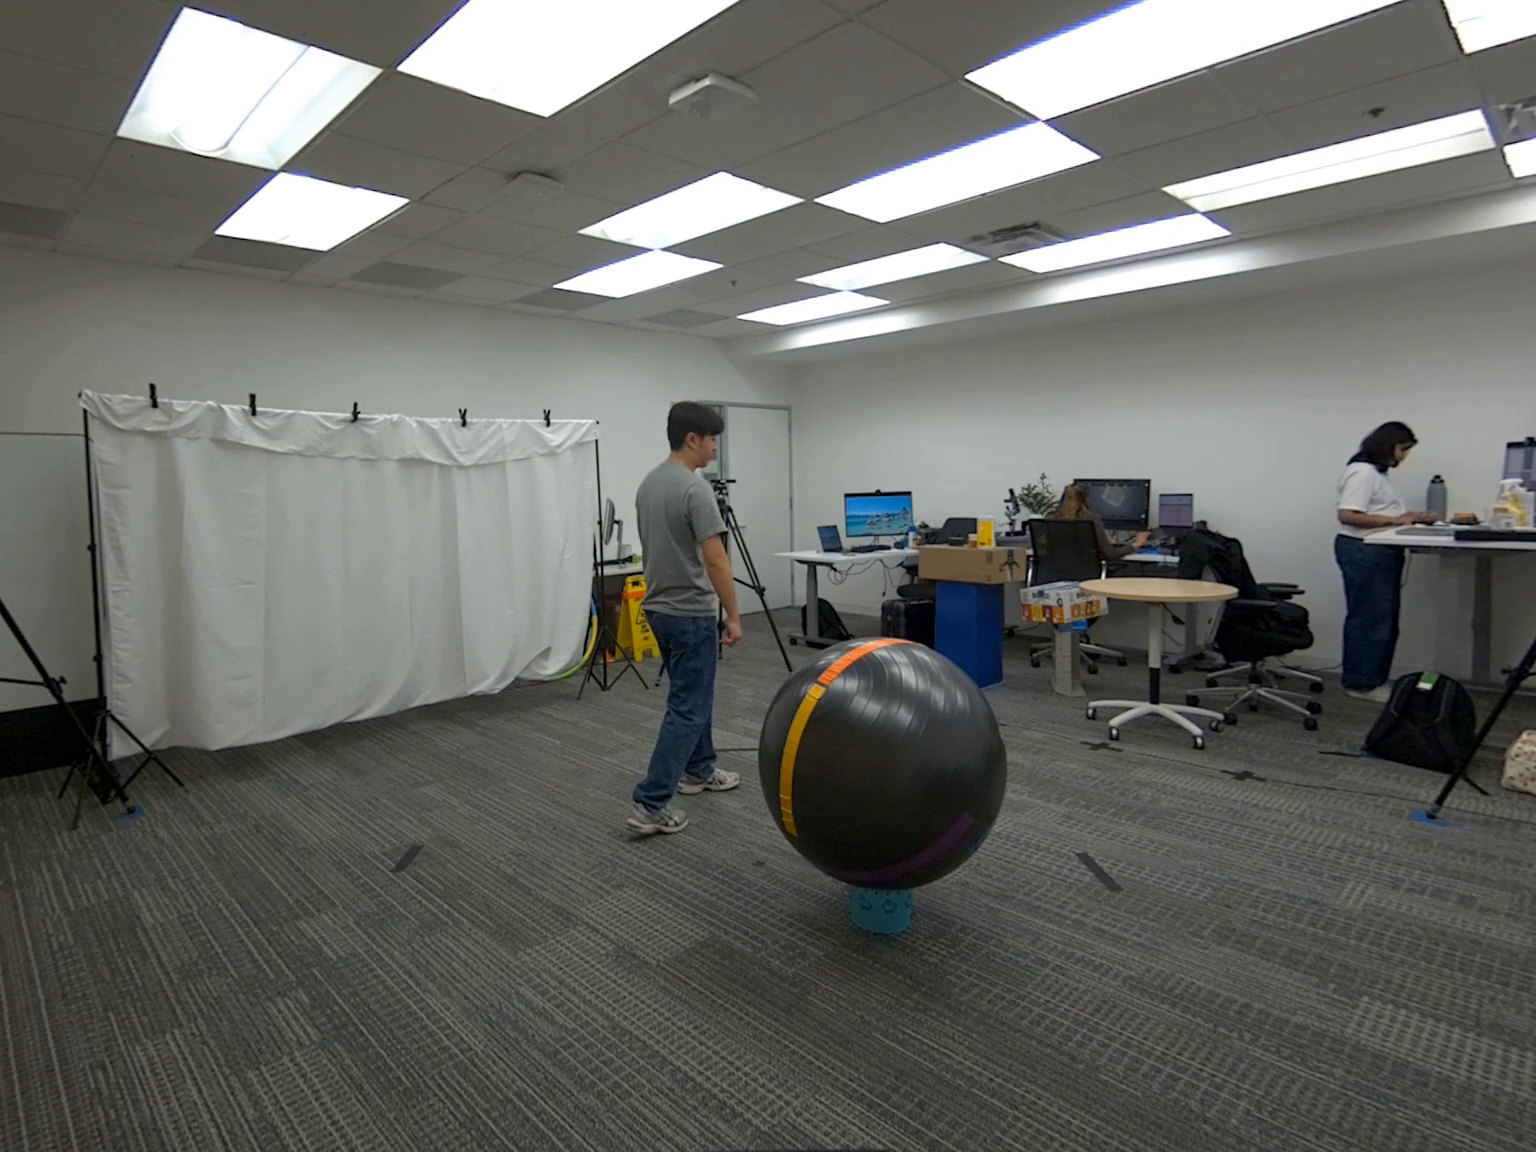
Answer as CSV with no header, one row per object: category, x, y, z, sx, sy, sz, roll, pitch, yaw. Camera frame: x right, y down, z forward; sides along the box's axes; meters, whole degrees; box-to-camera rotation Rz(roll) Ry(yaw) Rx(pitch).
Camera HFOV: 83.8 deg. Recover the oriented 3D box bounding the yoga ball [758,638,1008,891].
yoga ball,0.356,0.579,2.663,0.757,0.755,0.762,-1,5,-2
